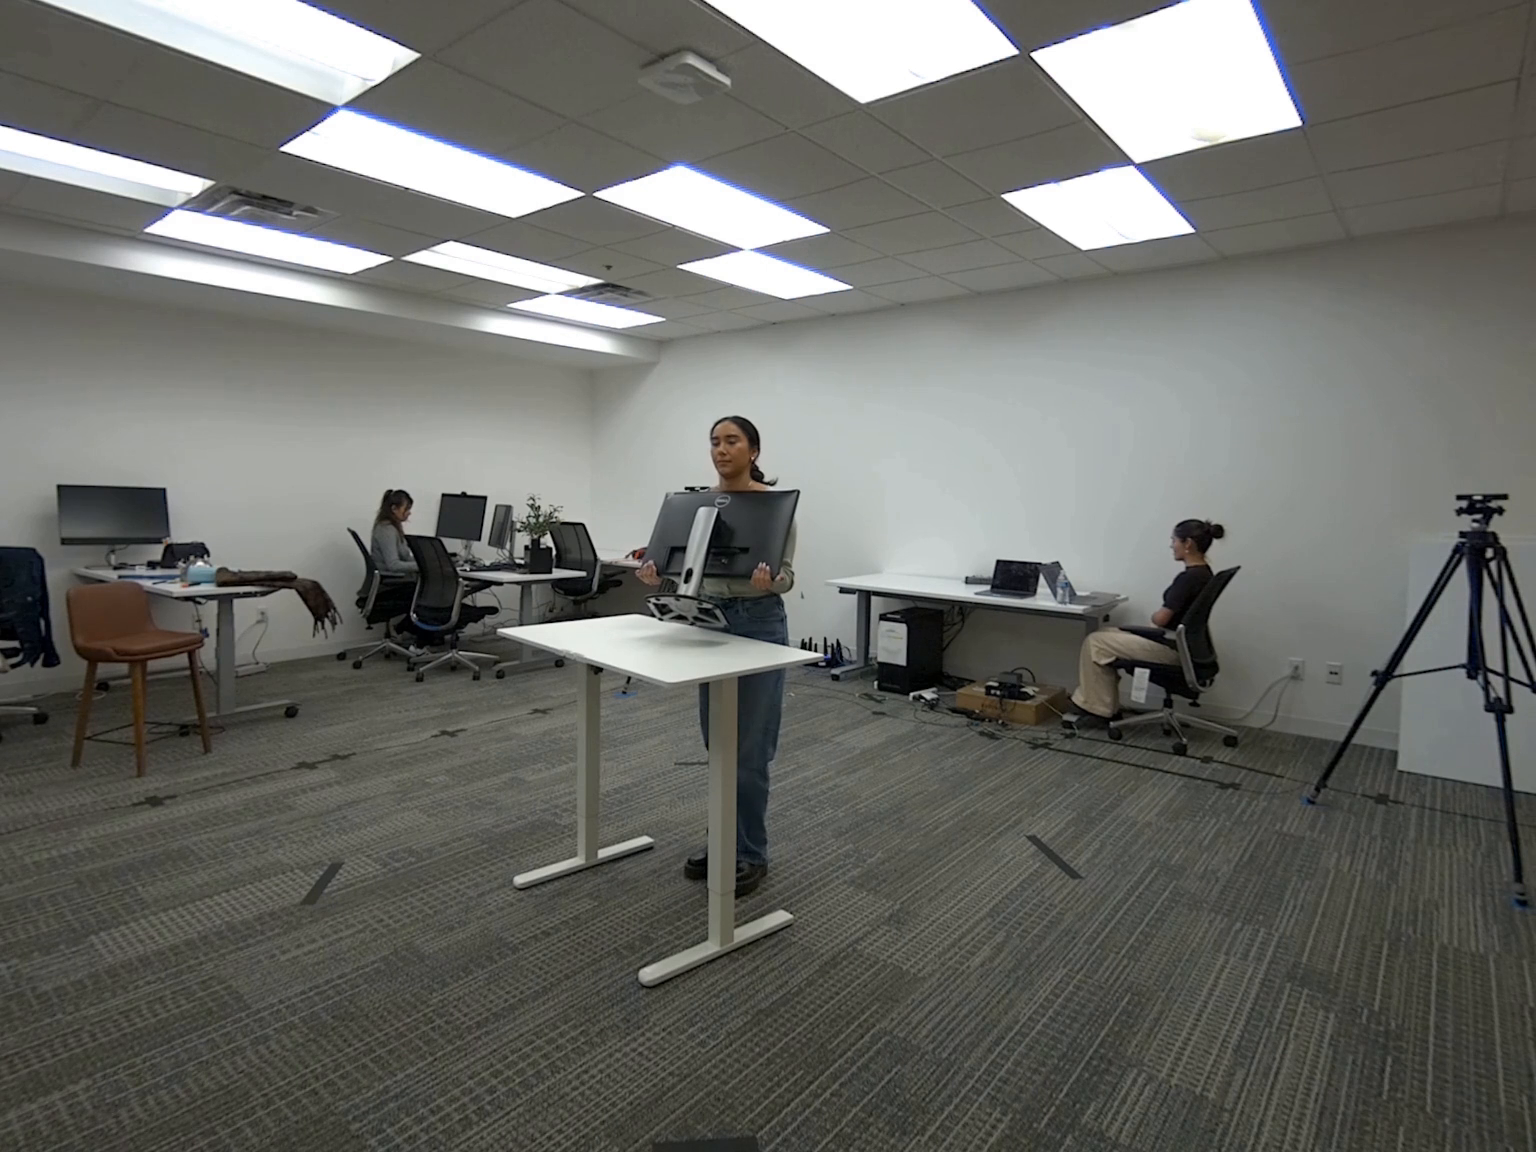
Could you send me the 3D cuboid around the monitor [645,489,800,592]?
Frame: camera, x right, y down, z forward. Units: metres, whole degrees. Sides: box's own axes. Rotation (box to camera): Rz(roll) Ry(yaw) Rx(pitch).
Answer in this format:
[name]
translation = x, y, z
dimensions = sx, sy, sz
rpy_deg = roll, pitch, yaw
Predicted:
[monitor]
translation = -0.210, -0.097, 2.894
dimensions = 0.554, 0.530, 0.179
rpy_deg = 2, -37, 27
